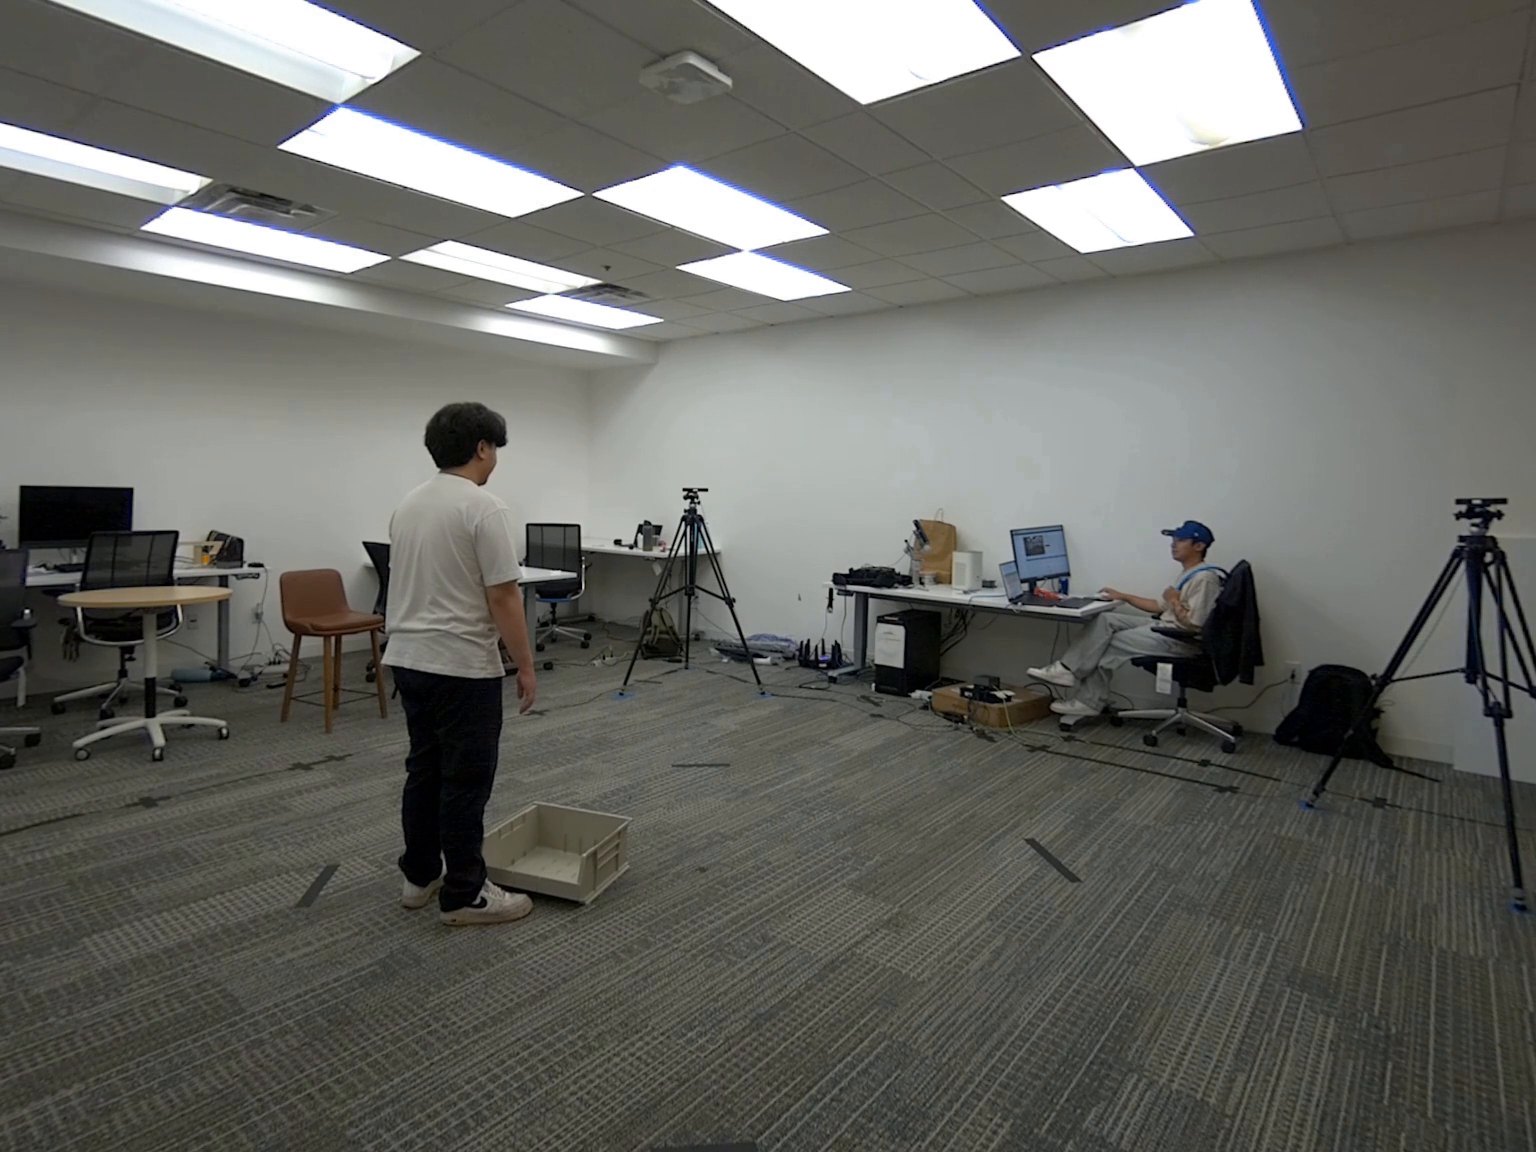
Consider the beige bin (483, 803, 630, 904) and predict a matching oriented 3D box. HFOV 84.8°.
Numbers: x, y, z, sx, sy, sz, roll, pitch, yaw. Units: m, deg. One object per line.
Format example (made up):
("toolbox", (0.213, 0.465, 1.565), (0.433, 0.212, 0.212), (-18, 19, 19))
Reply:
("beige bin", (-0.764, 0.978, 3.018), (0.431, 0.188, 0.370), (2, 4, 19))
